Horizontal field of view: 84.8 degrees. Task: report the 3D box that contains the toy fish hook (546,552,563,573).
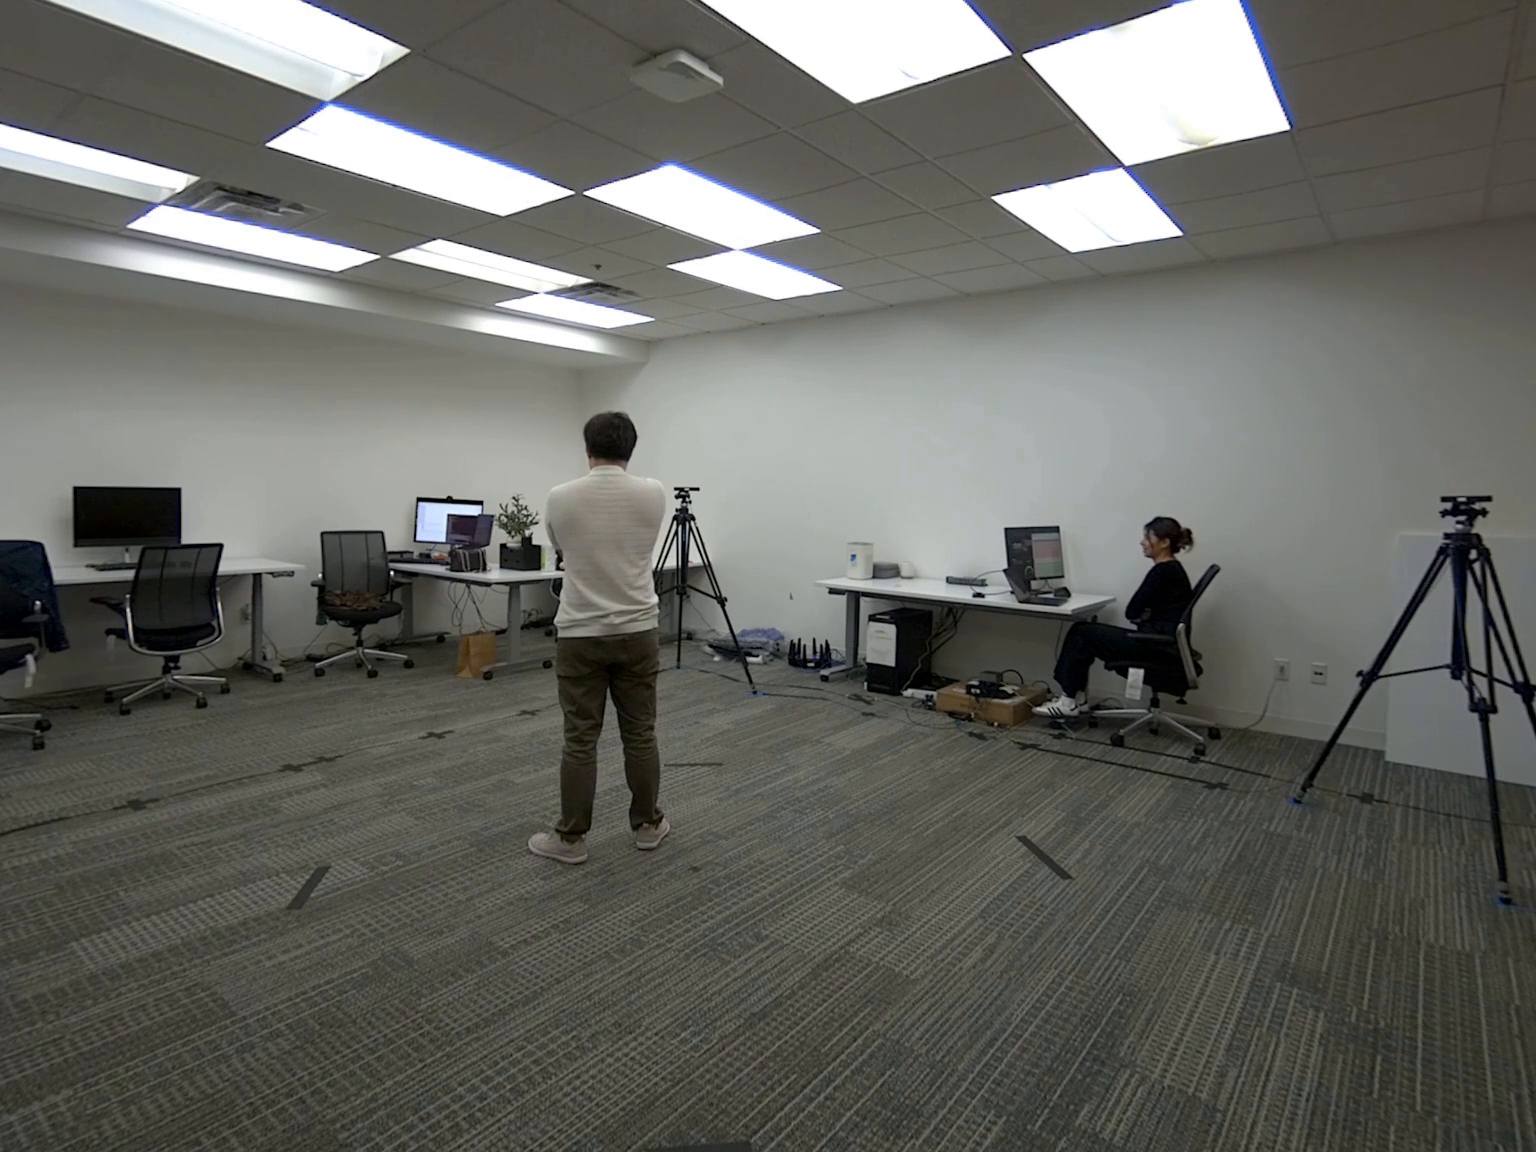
[{"bbox_3d":[-0.752,-0.046,3.828,0.523,0.048,0.218,3,7,42],"label":"toy fish hook"}]
